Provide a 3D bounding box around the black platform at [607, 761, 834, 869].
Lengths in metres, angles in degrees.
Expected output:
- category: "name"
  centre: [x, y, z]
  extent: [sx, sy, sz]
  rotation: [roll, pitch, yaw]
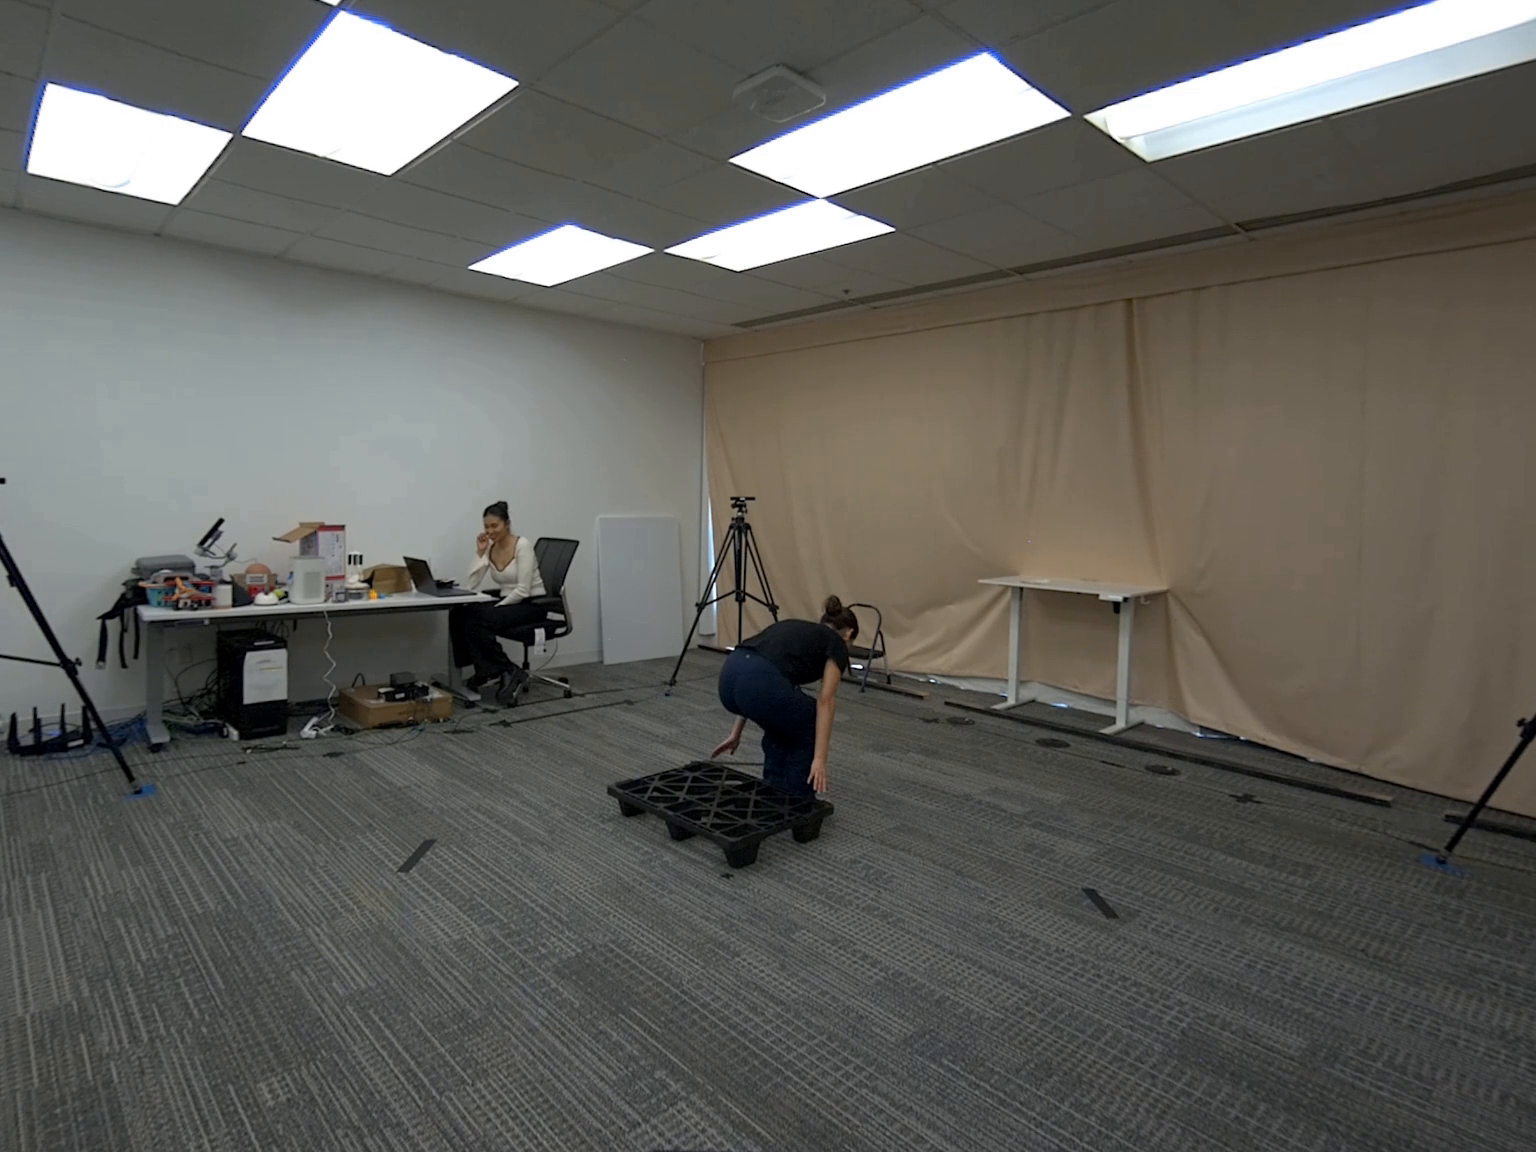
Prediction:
- category: "black platform"
  centre: [-0.221, 0.998, 3.554]
  extent: [0.826, 0.143, 0.591]
  rotation: [6, 7, 45]
